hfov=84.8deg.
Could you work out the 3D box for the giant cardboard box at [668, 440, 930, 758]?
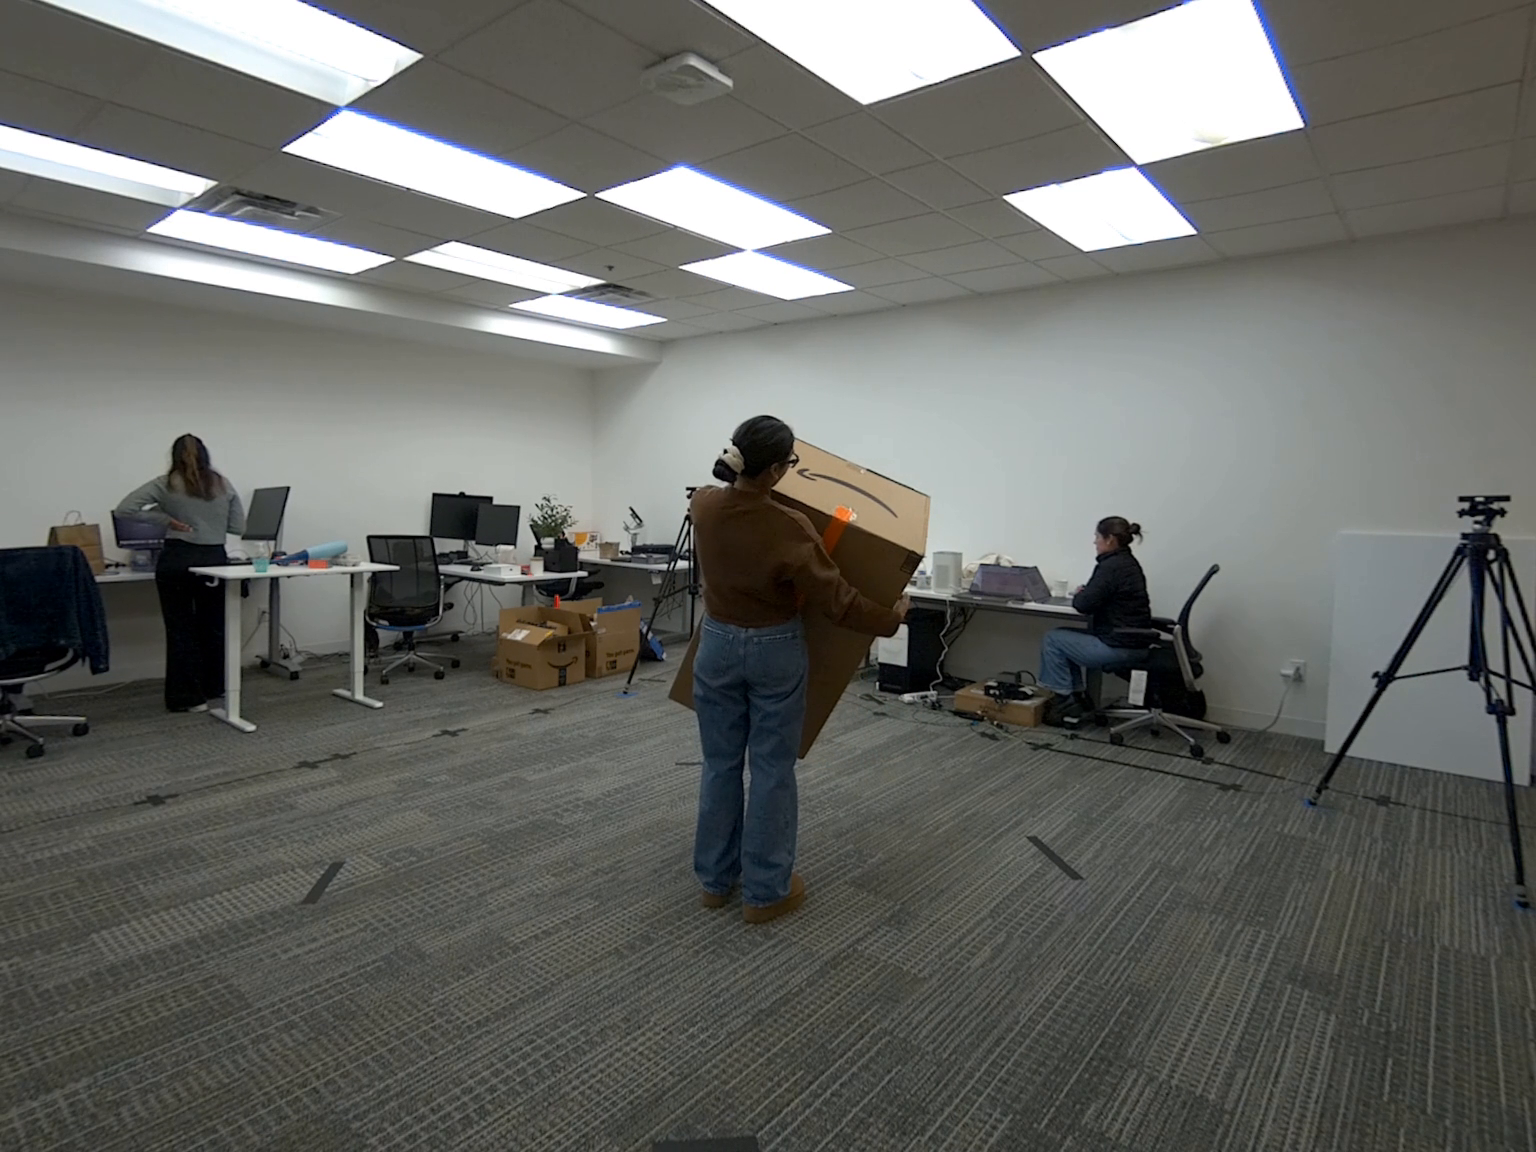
[{"bbox_3d":[0.089,0.093,3.141,0.580,1.013,0.430,25,33,1],"label":"giant cardboard box"}]
